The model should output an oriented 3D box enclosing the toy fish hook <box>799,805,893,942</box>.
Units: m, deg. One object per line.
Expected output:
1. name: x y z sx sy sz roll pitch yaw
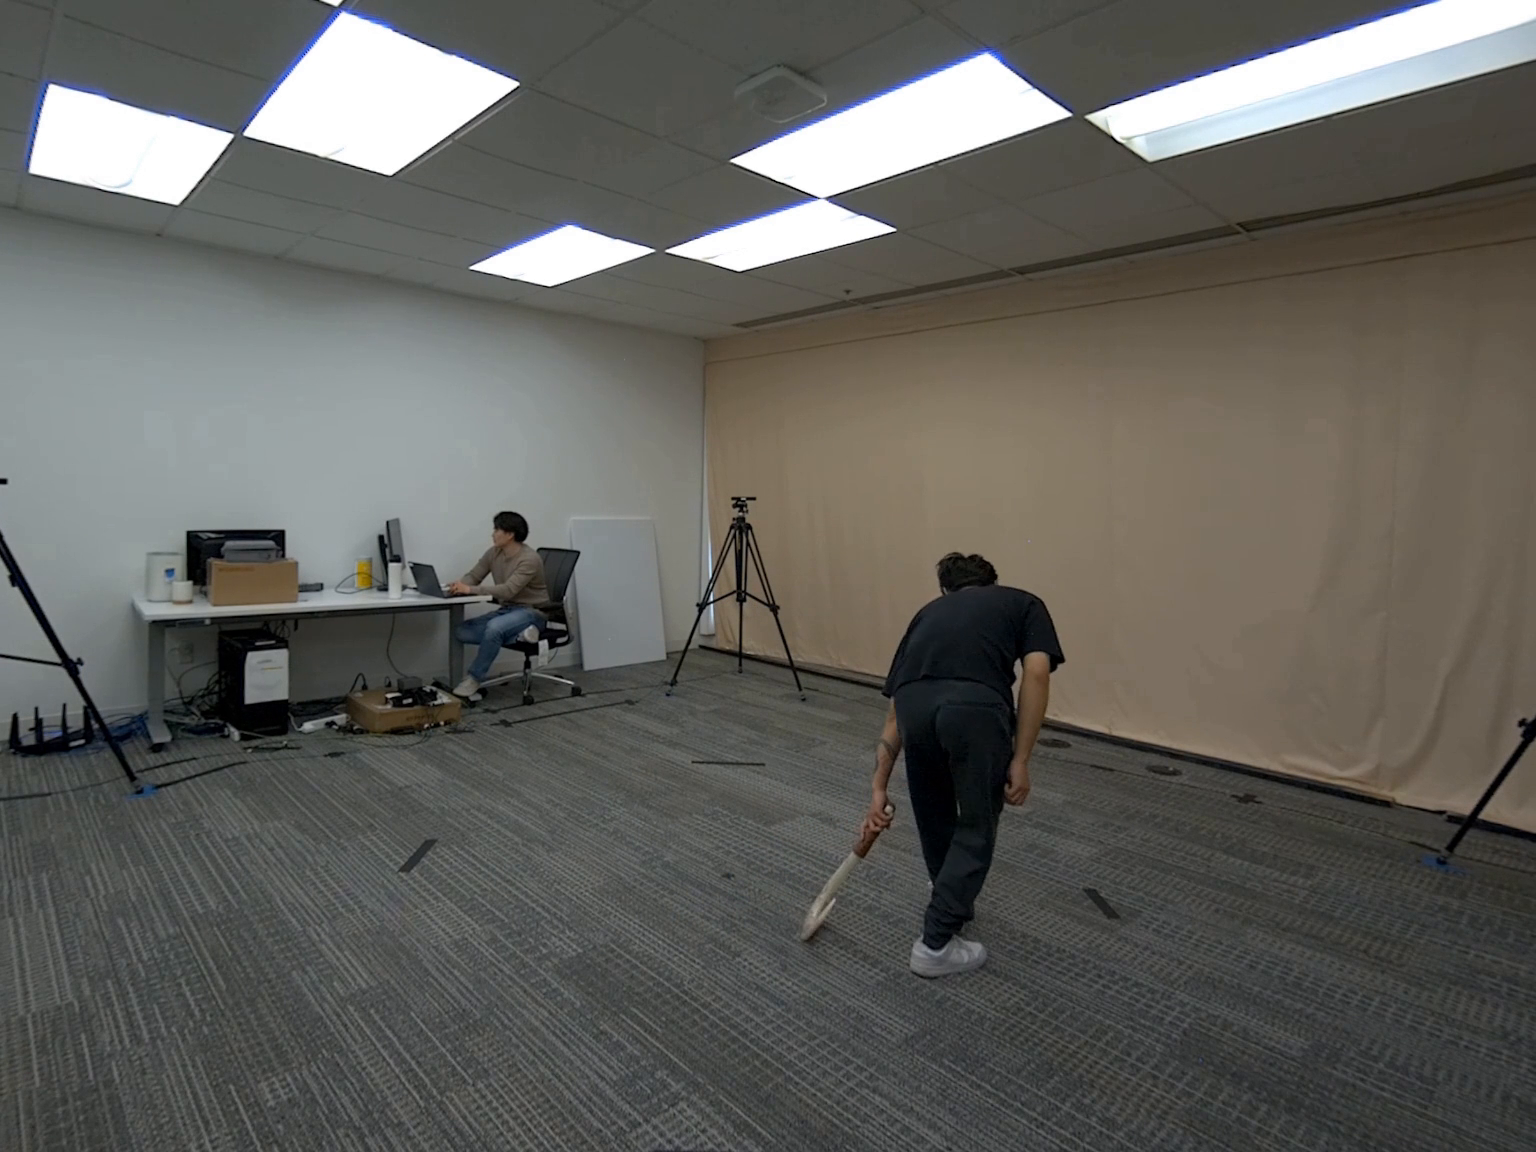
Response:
1. toy fish hook: 0.249 0.938 2.659 0.048 0.506 0.224 33 7 2
